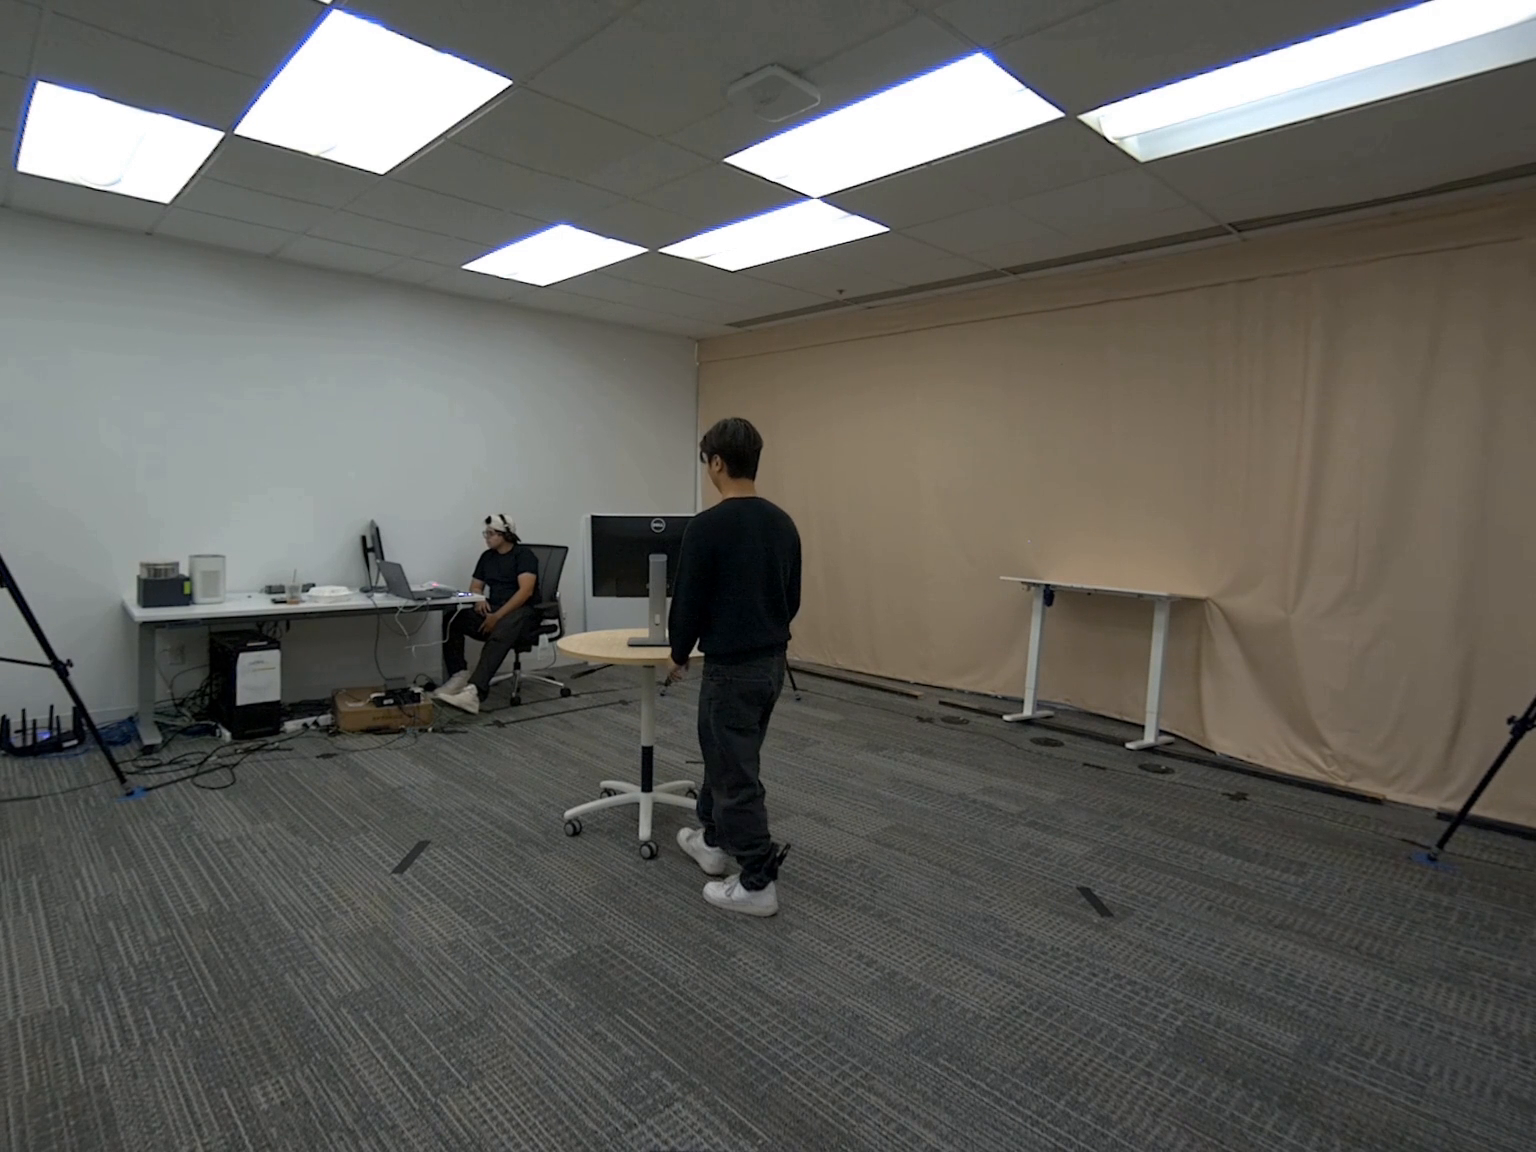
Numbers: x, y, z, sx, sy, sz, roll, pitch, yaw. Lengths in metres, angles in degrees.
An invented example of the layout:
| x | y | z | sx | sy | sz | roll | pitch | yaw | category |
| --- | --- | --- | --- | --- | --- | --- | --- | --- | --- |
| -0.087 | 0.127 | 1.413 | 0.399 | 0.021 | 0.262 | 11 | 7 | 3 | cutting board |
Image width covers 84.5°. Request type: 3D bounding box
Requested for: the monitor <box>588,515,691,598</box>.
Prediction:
| x | y | z | sx | sy | sz | roll | pitch | yaw | category |
| --- | --- | --- | --- | --- | --- | --- | --- | --- | --- |
| -0.462 | 0.015 | 3.516 | 0.527 | 0.516 | 0.175 | 0 | -1 | -7 | monitor |
